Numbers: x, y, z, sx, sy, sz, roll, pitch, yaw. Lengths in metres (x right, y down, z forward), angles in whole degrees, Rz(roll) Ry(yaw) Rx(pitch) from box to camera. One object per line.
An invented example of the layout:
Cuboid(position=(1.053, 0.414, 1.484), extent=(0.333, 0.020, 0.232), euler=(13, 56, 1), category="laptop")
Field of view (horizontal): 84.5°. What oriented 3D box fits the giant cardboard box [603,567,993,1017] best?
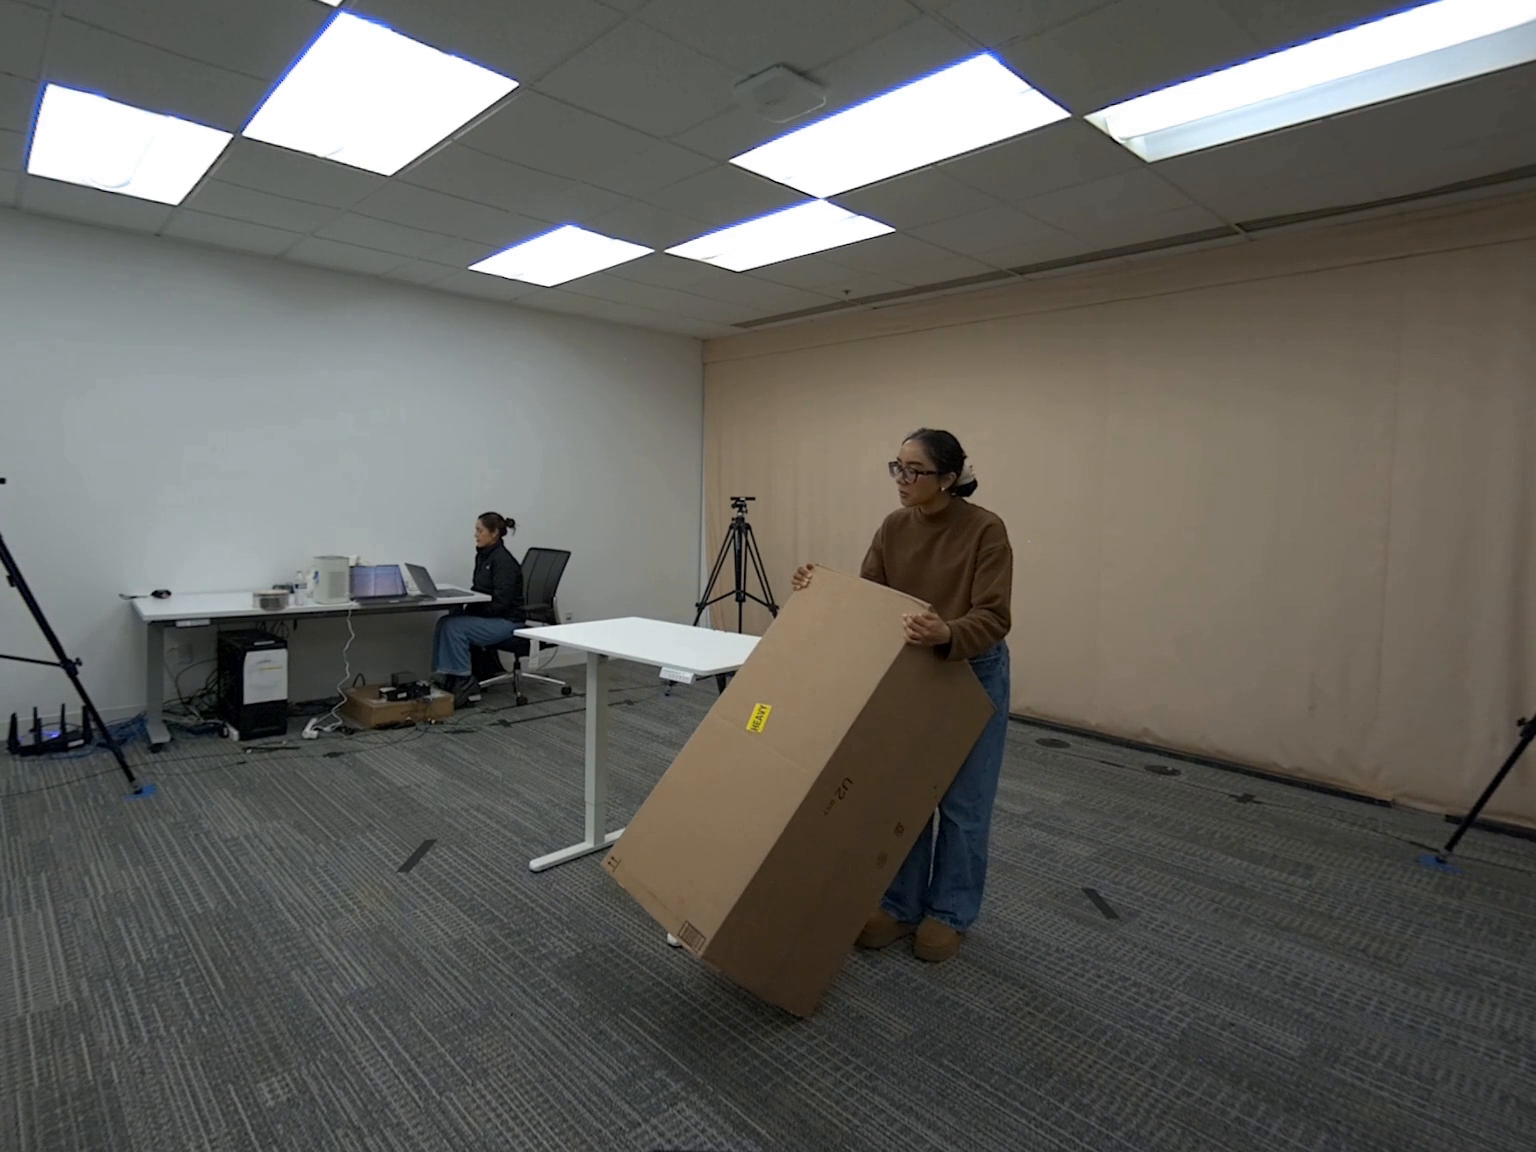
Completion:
Cuboid(position=(0.109, 0.584, 2.352), extent=(0.439, 1.027, 0.559), euler=(20, -22, 45), category="giant cardboard box")
